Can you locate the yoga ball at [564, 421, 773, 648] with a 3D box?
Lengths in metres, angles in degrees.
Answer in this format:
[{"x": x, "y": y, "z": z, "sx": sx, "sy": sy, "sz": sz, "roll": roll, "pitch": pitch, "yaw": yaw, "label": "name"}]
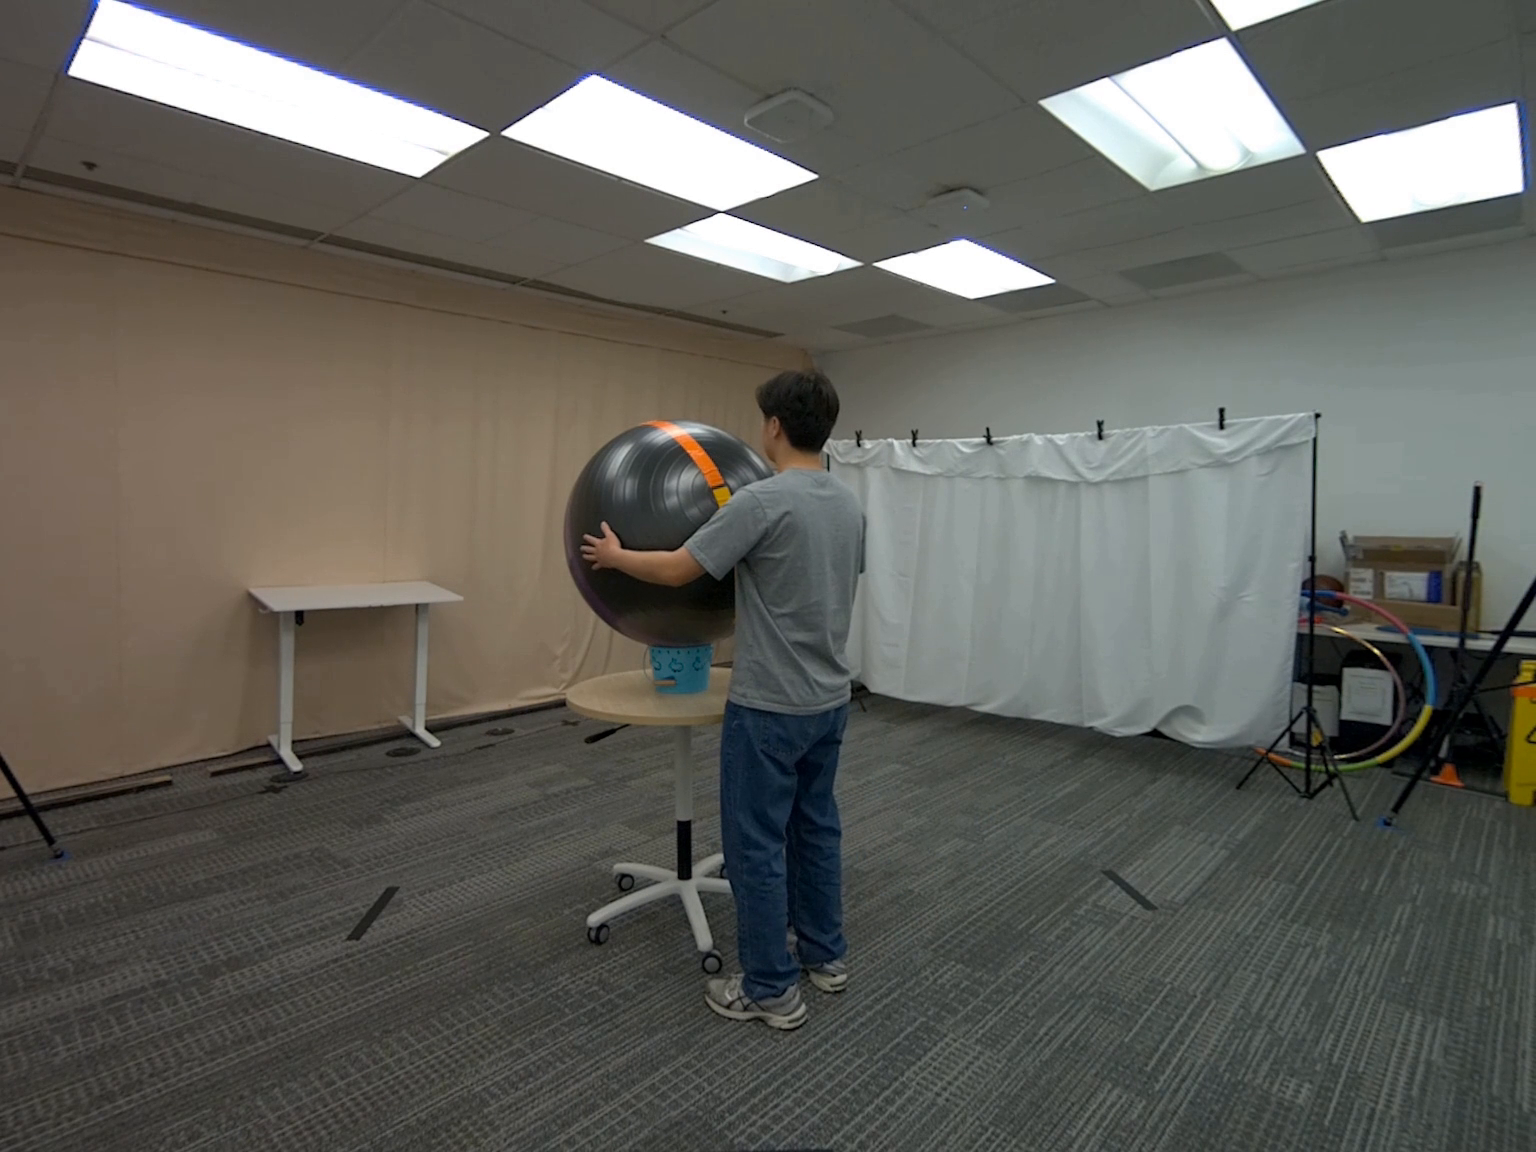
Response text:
[{"x": -0.302, "y": -0.136, "z": 2.810, "sx": 0.757, "sy": 0.756, "sz": 0.760, "roll": 0, "pitch": 4, "yaw": -2, "label": "yoga ball"}]
